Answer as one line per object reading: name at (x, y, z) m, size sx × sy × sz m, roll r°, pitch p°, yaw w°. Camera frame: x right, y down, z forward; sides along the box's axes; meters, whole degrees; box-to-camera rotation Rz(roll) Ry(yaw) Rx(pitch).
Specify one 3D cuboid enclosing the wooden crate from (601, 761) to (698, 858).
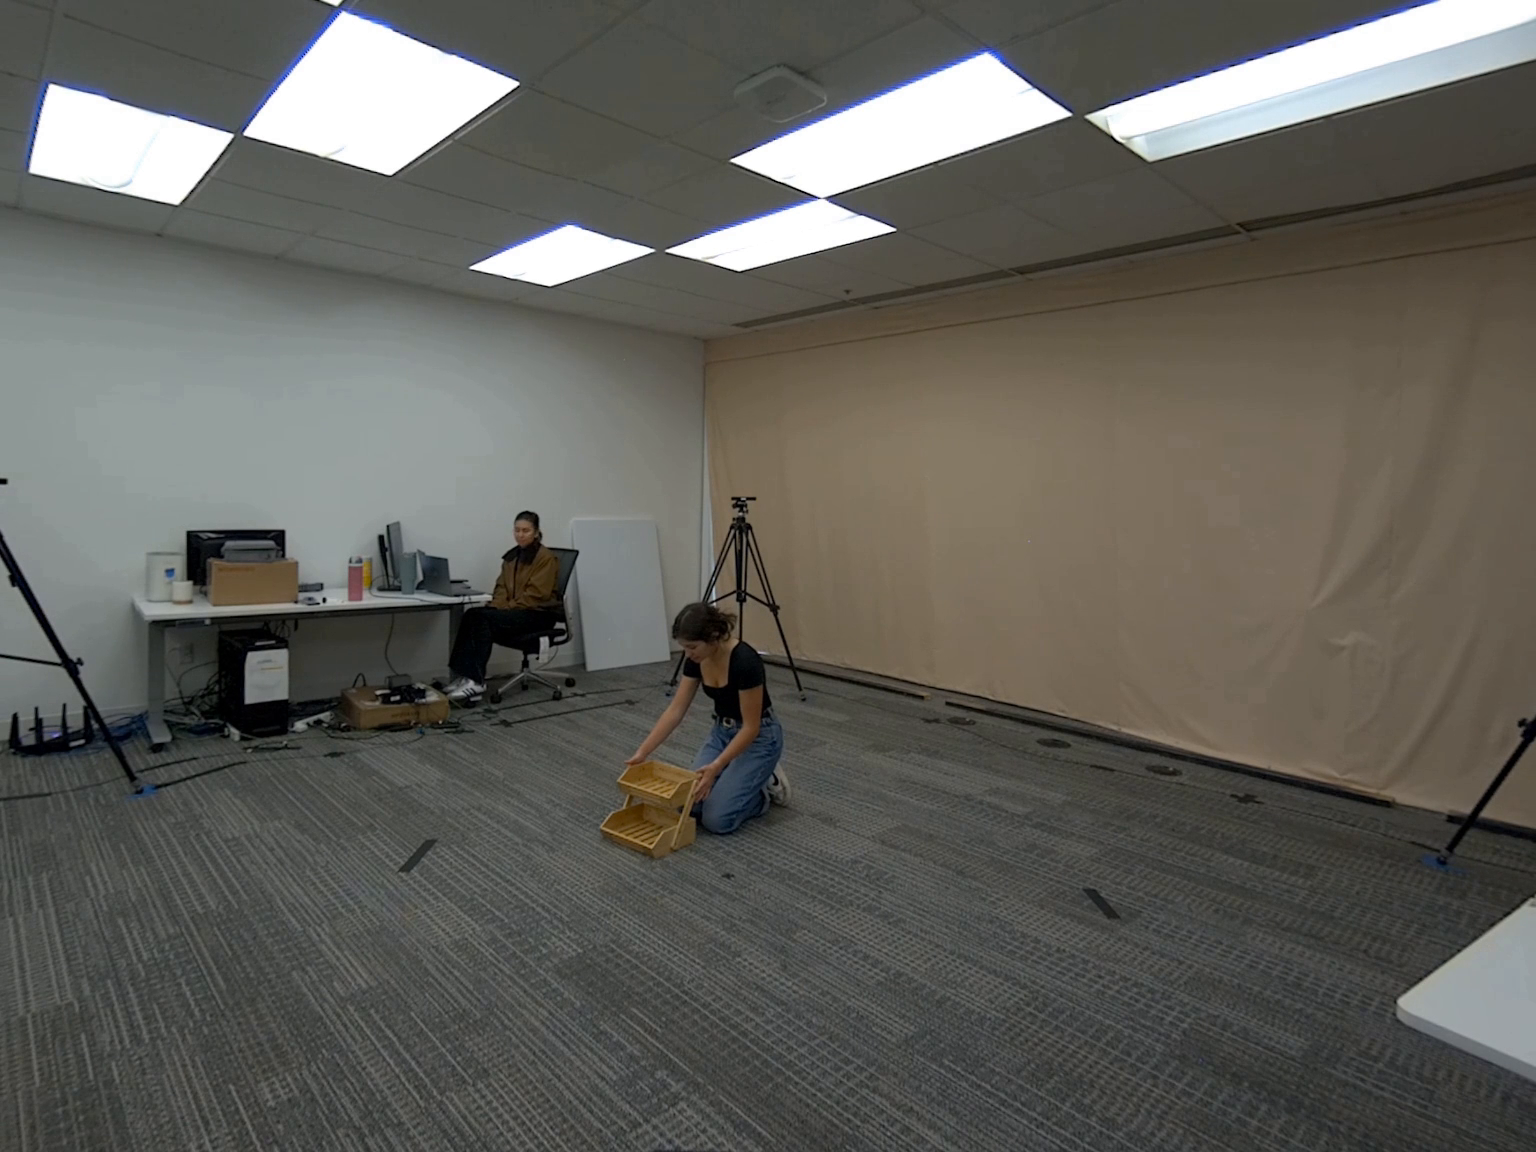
wooden crate at (-0.481, 0.940, 3.423) m, size 0.332 × 0.272 × 0.295 m, roll 5°, pitch 5°, yaw 38°
